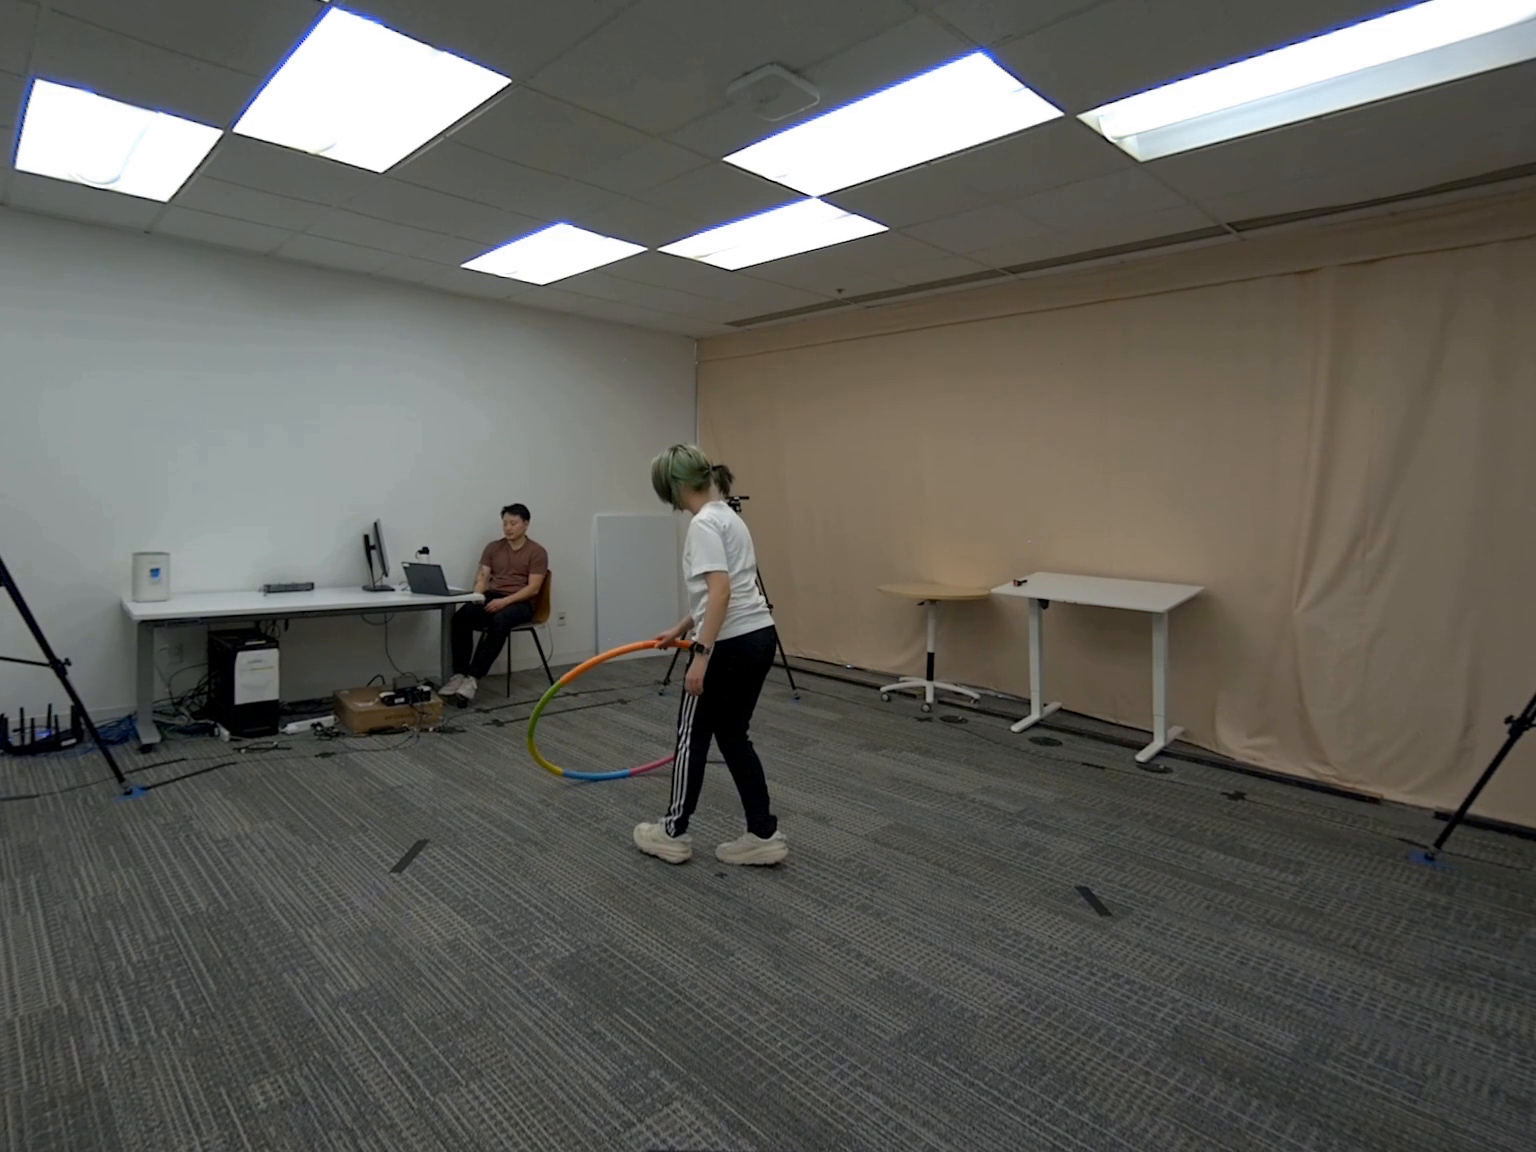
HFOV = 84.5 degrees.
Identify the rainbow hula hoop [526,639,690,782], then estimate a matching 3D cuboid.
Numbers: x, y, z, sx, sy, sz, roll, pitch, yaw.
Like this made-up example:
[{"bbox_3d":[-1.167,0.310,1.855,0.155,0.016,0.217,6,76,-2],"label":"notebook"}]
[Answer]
[{"bbox_3d":[-0.617,0.633,3.864,0.960,0.968,0.036,-1,44,-28],"label":"rainbow hula hoop"}]
